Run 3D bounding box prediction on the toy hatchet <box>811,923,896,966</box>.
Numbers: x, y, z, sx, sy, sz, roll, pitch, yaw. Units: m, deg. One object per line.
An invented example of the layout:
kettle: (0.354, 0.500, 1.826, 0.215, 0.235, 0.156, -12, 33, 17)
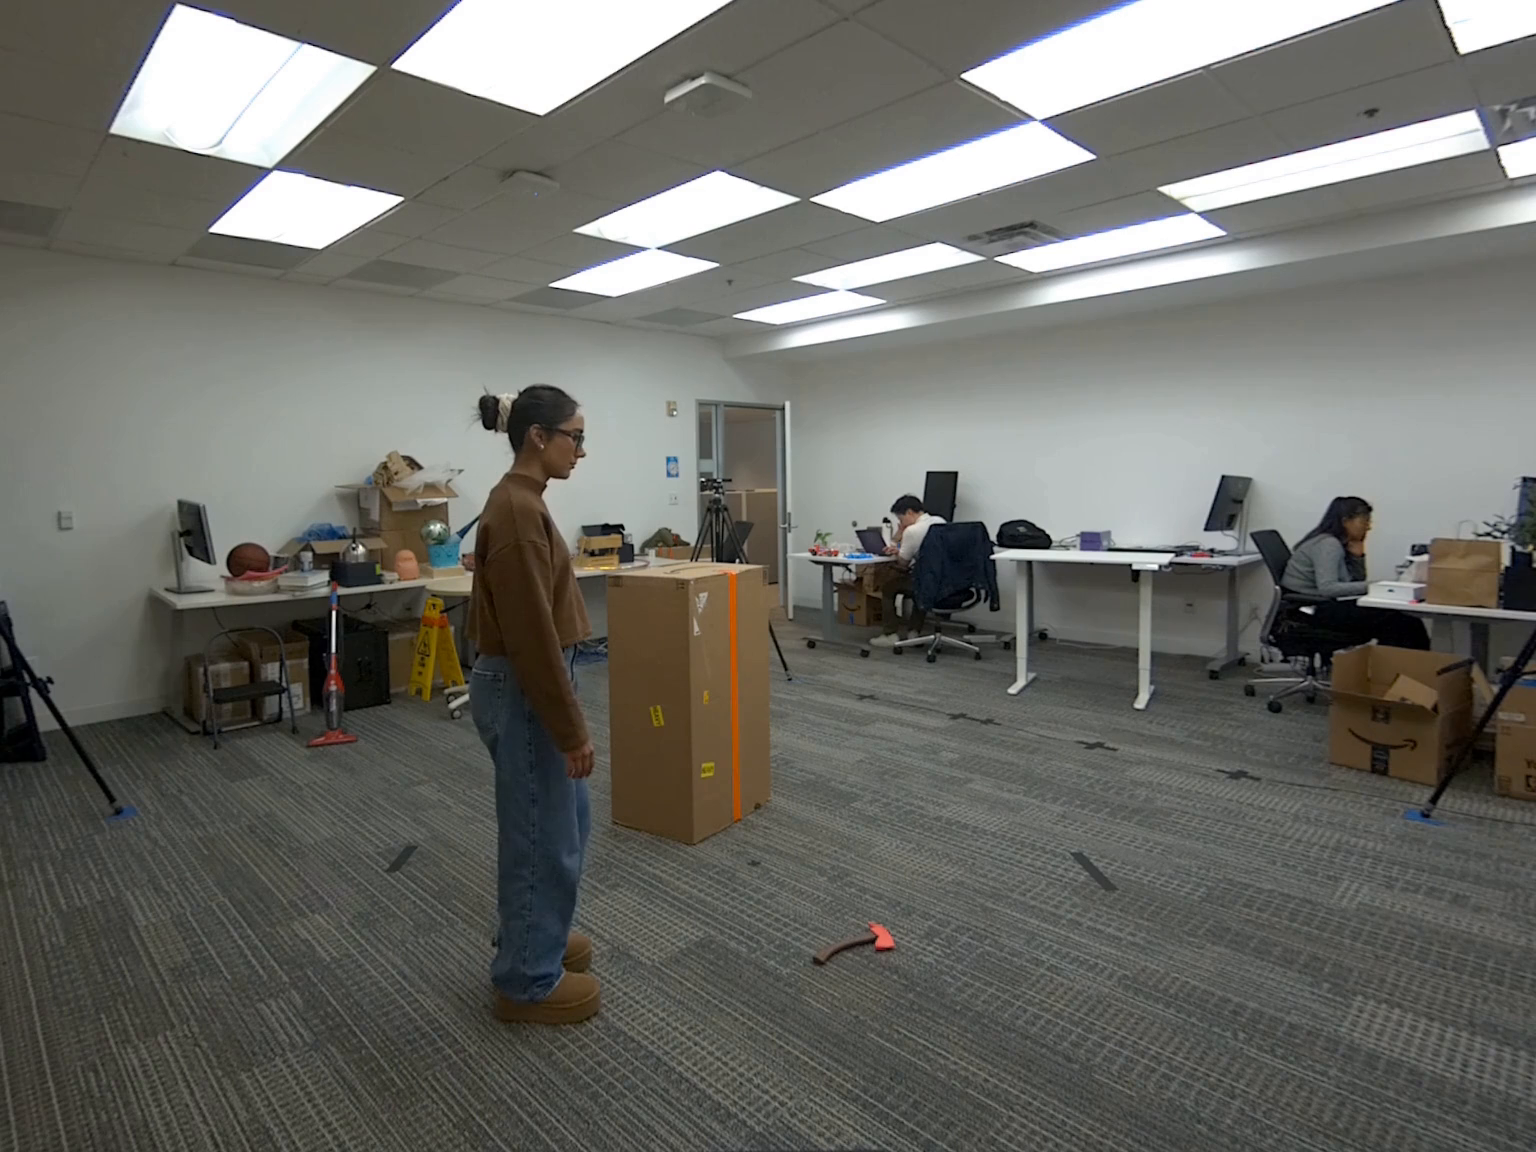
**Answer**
toy hatchet: (0.274, 1.099, 2.507, 0.263, 0.029, 0.135, -10, 13, -43)
